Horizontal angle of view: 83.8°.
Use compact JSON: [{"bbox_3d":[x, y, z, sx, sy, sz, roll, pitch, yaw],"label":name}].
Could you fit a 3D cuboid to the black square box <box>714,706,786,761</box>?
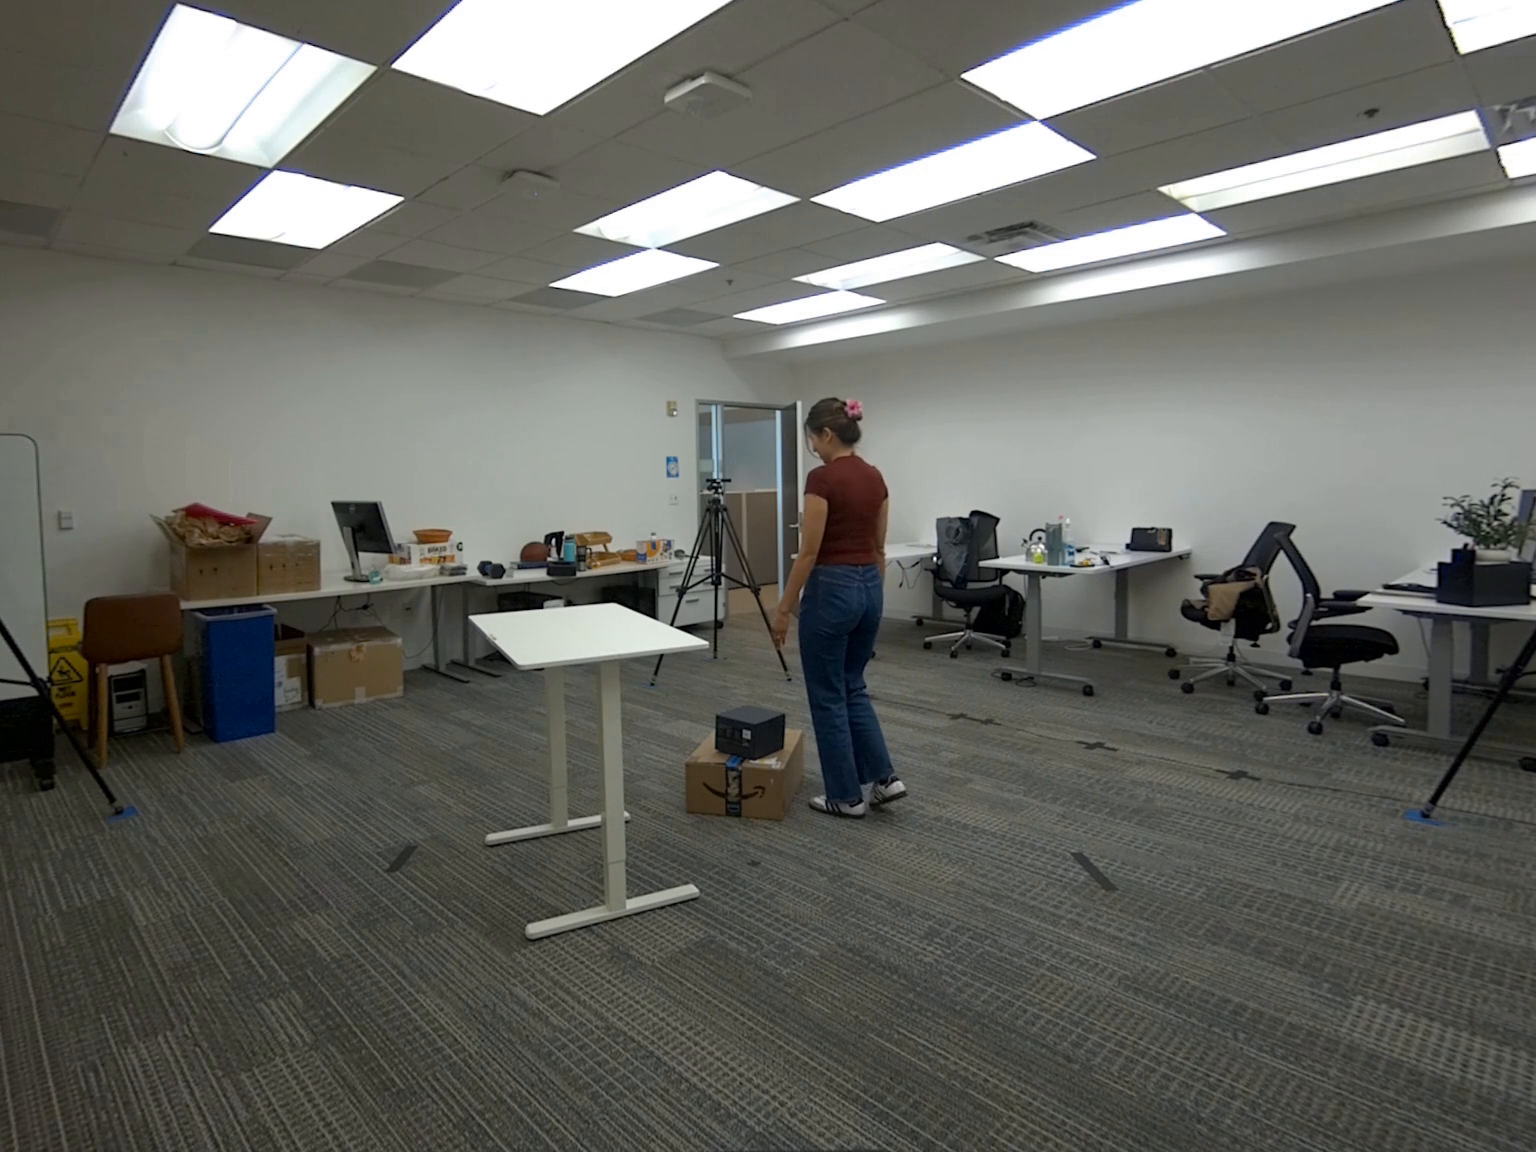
[{"bbox_3d":[-0.078,0.672,3.726,0.223,0.155,0.222,5,6,36],"label":"black square box"}]
